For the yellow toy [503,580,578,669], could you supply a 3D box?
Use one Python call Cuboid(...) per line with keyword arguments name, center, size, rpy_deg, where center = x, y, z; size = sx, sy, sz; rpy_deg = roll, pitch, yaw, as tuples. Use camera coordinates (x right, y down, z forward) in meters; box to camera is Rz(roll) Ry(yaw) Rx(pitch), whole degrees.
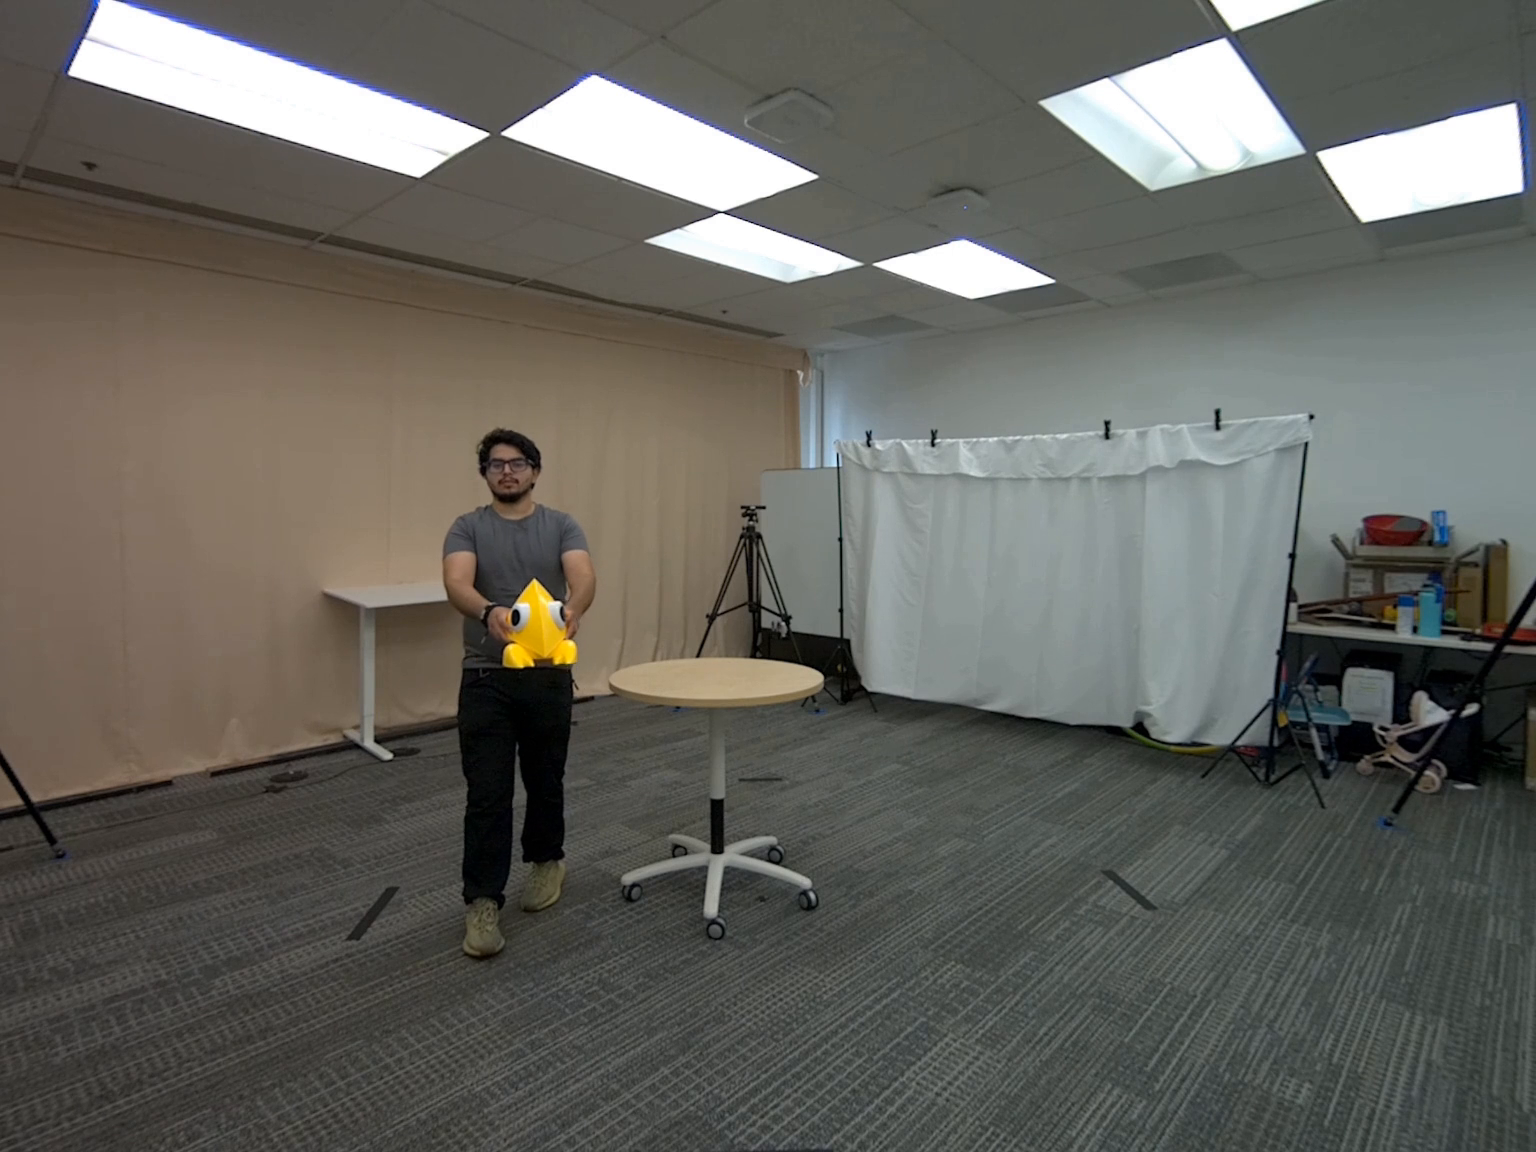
Cuboid(name="yellow toy", center=(-0.638, 0.125, 2.321), size=(0.200, 0.231, 0.197), rpy_deg=(-2, -1, -22))
